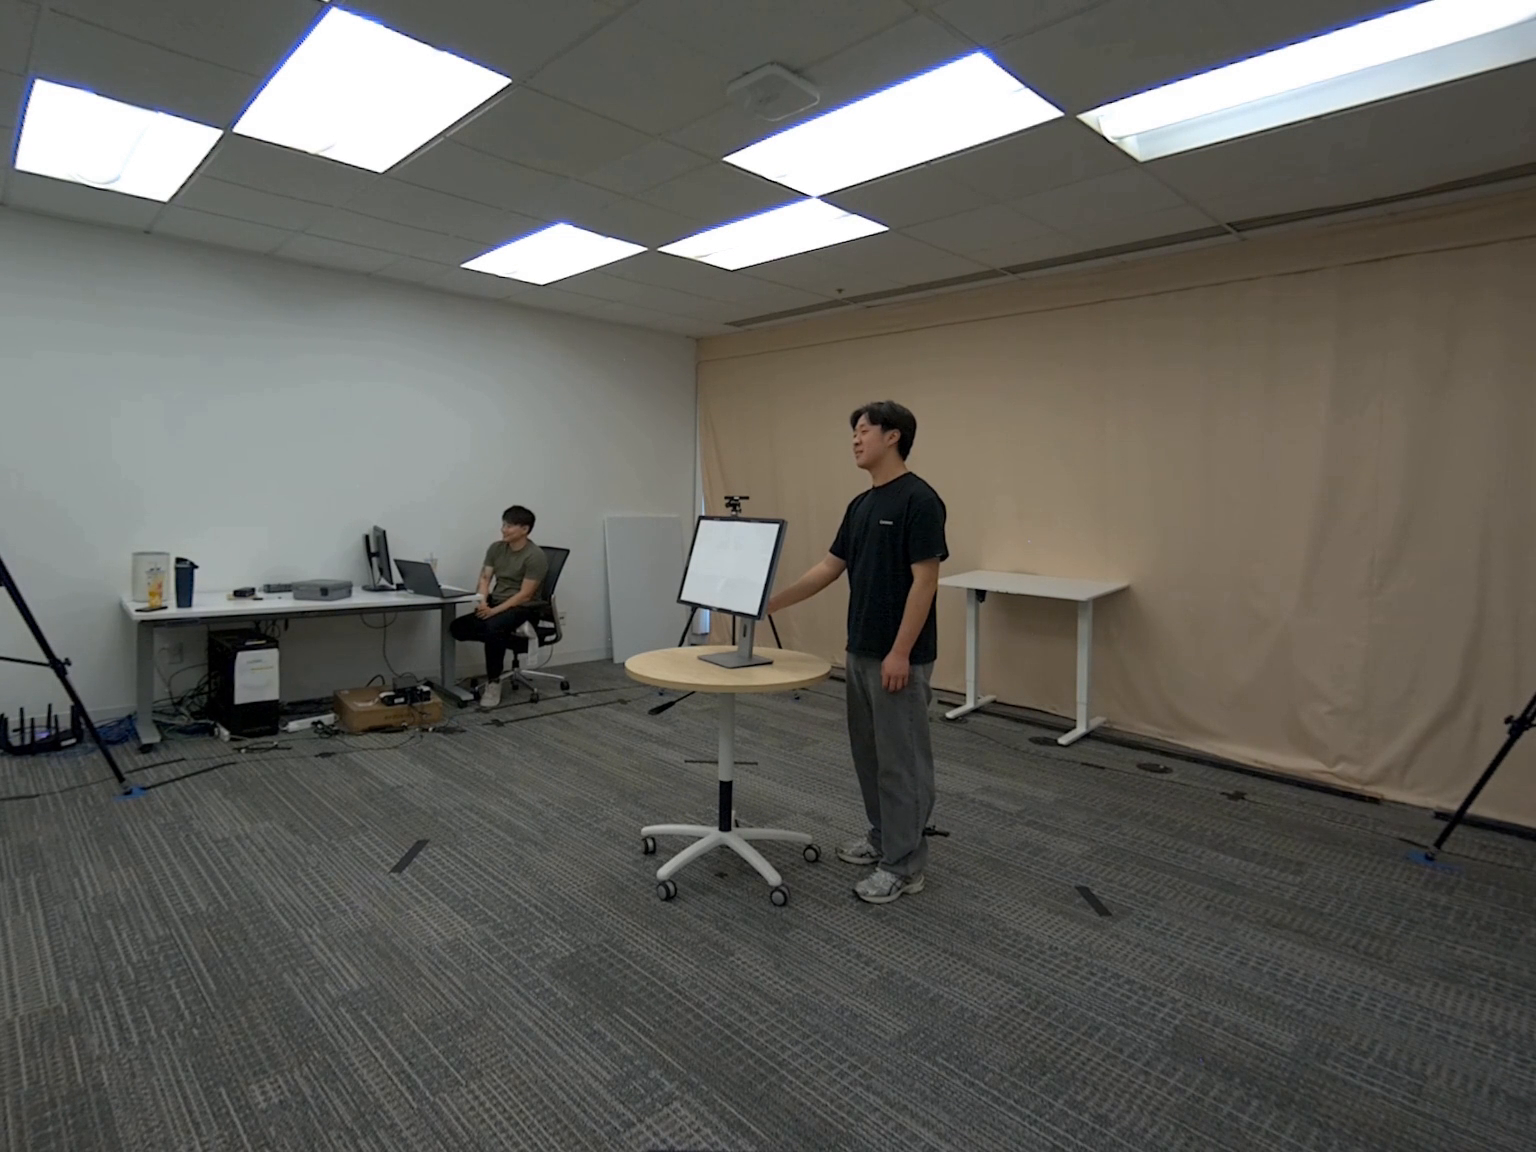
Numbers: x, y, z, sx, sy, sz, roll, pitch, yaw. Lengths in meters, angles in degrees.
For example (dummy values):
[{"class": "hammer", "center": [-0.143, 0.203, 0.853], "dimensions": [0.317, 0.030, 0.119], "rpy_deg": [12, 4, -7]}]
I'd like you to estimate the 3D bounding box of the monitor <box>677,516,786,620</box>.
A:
[{"class": "monitor", "center": [-0.127, 0.062, 3.164], "dimensions": [0.217, 0.564, 0.575], "rpy_deg": [-2, 4, -33]}]
